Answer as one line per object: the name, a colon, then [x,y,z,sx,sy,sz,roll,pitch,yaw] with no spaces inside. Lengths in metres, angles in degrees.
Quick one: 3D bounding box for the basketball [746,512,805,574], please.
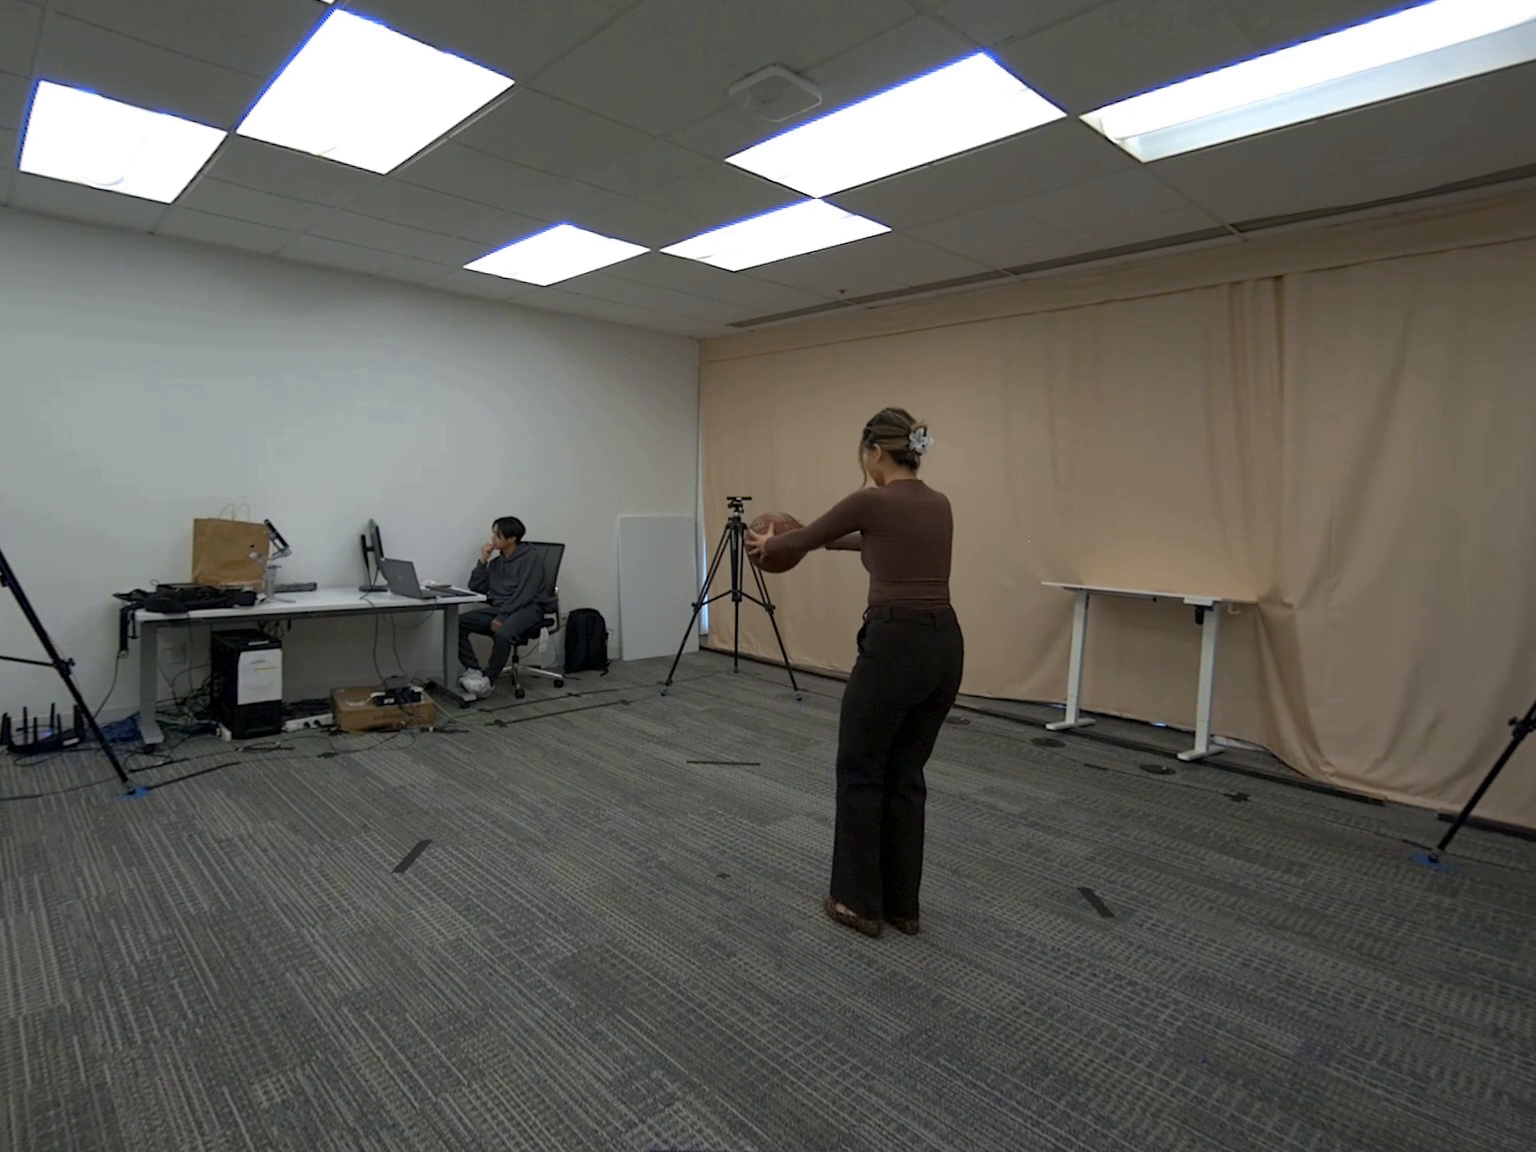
basketball: [0.021,-0.124,3.252,0.236,0.235,0.237,1,4,-1]
